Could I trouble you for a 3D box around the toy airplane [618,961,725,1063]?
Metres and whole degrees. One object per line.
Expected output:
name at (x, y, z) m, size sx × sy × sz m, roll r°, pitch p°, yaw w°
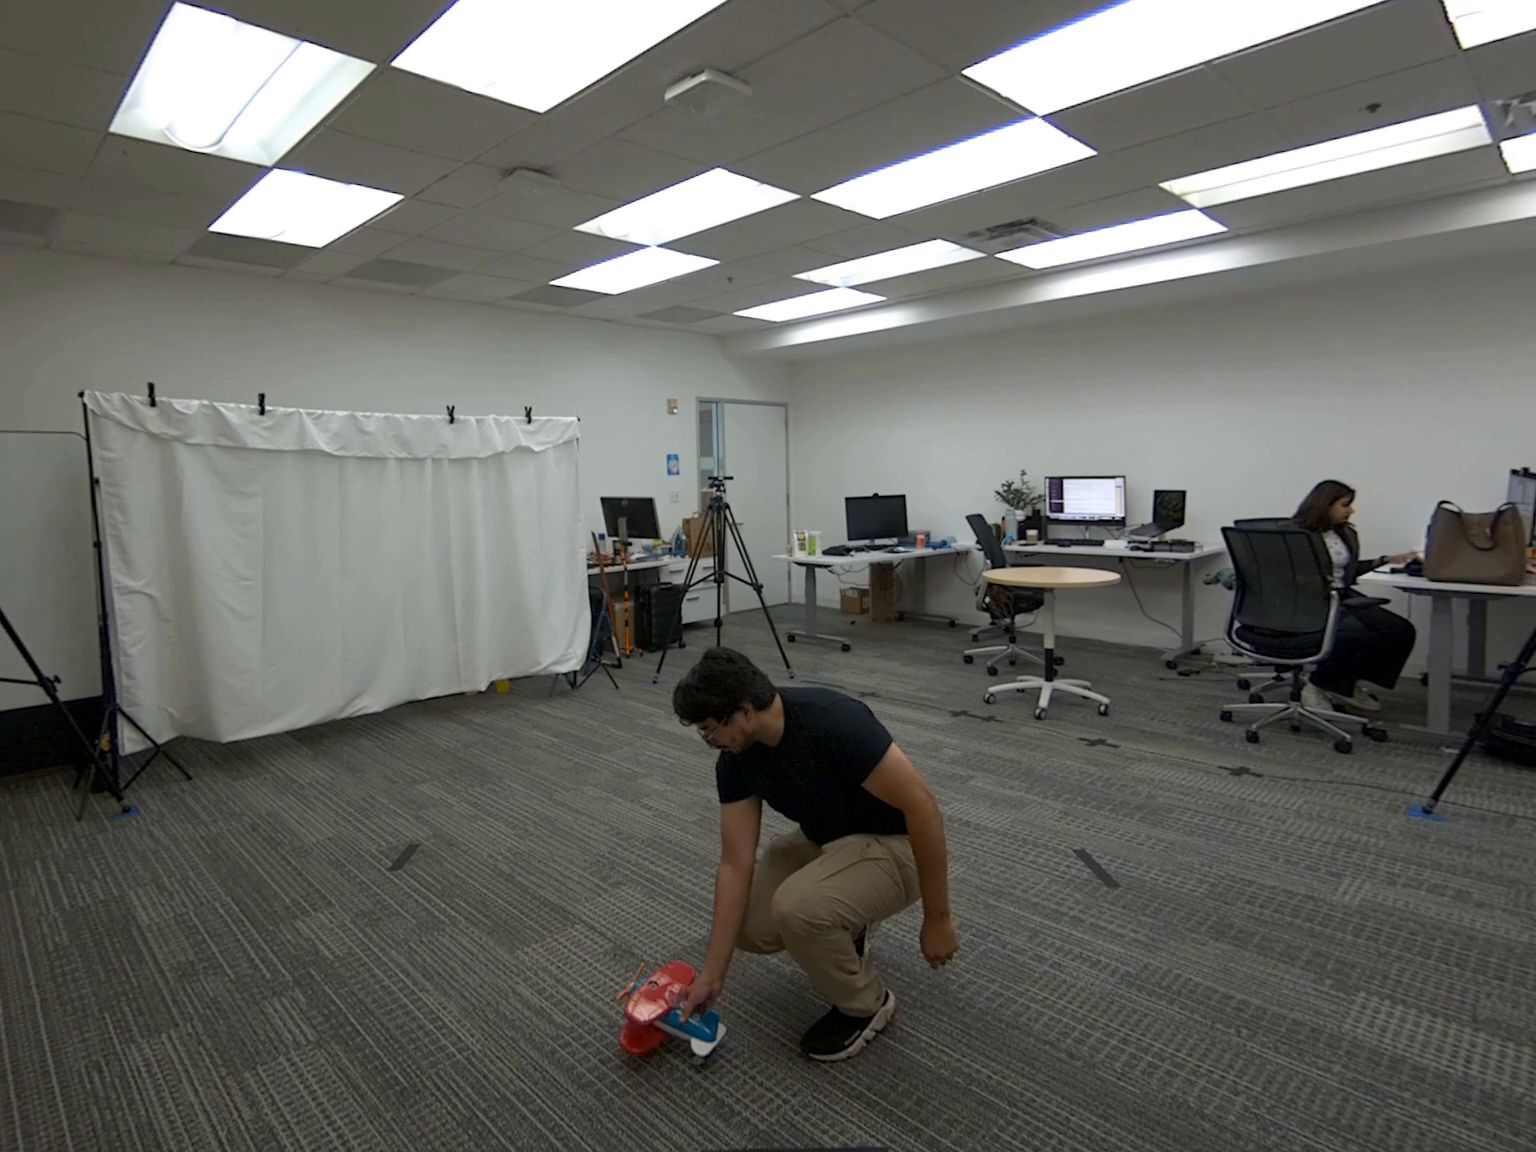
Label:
toy airplane at (-0.222, 1.087, 2.120) m, size 0.259 × 0.156 × 0.253 m, roll -3°, pitch 6°, yaw -2°
